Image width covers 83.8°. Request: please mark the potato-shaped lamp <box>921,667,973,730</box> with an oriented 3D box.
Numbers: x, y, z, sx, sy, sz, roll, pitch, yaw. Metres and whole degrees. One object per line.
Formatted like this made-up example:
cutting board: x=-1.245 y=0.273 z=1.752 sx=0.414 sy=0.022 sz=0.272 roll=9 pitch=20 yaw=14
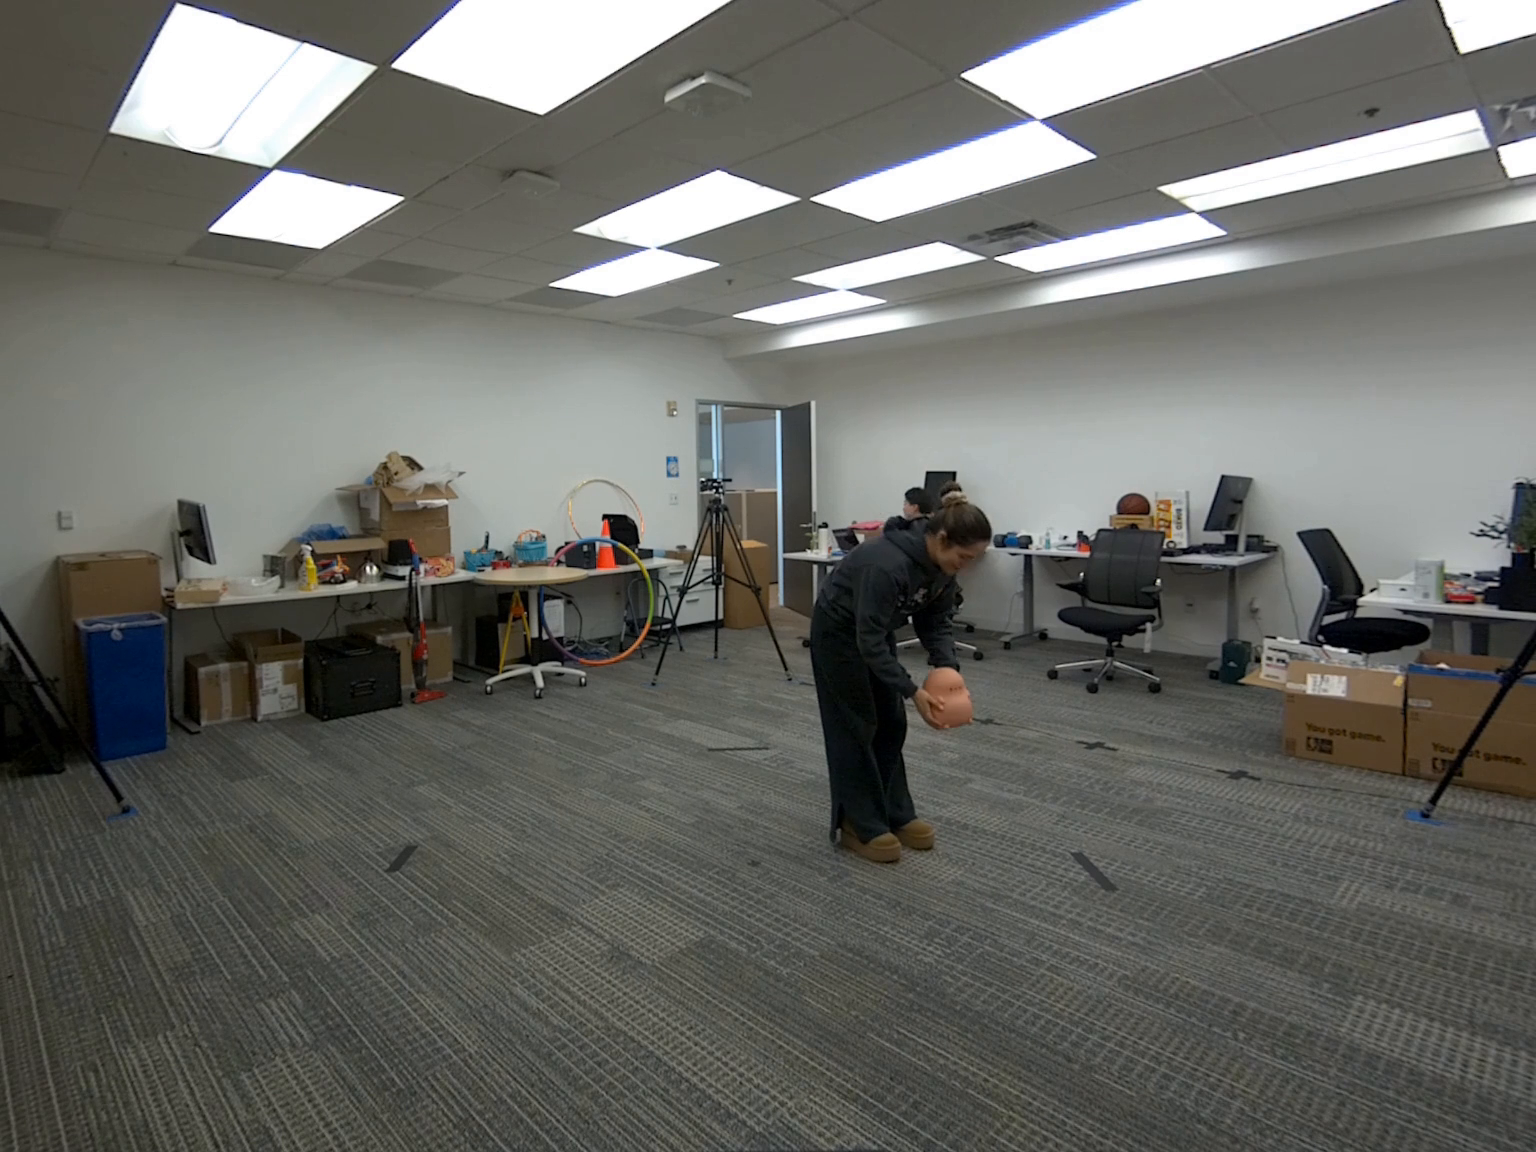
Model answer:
potato-shaped lamp: x=0.609 y=0.433 z=2.980 sx=0.166 sy=0.203 sz=0.166 roll=-29 pitch=-23 yaw=16
